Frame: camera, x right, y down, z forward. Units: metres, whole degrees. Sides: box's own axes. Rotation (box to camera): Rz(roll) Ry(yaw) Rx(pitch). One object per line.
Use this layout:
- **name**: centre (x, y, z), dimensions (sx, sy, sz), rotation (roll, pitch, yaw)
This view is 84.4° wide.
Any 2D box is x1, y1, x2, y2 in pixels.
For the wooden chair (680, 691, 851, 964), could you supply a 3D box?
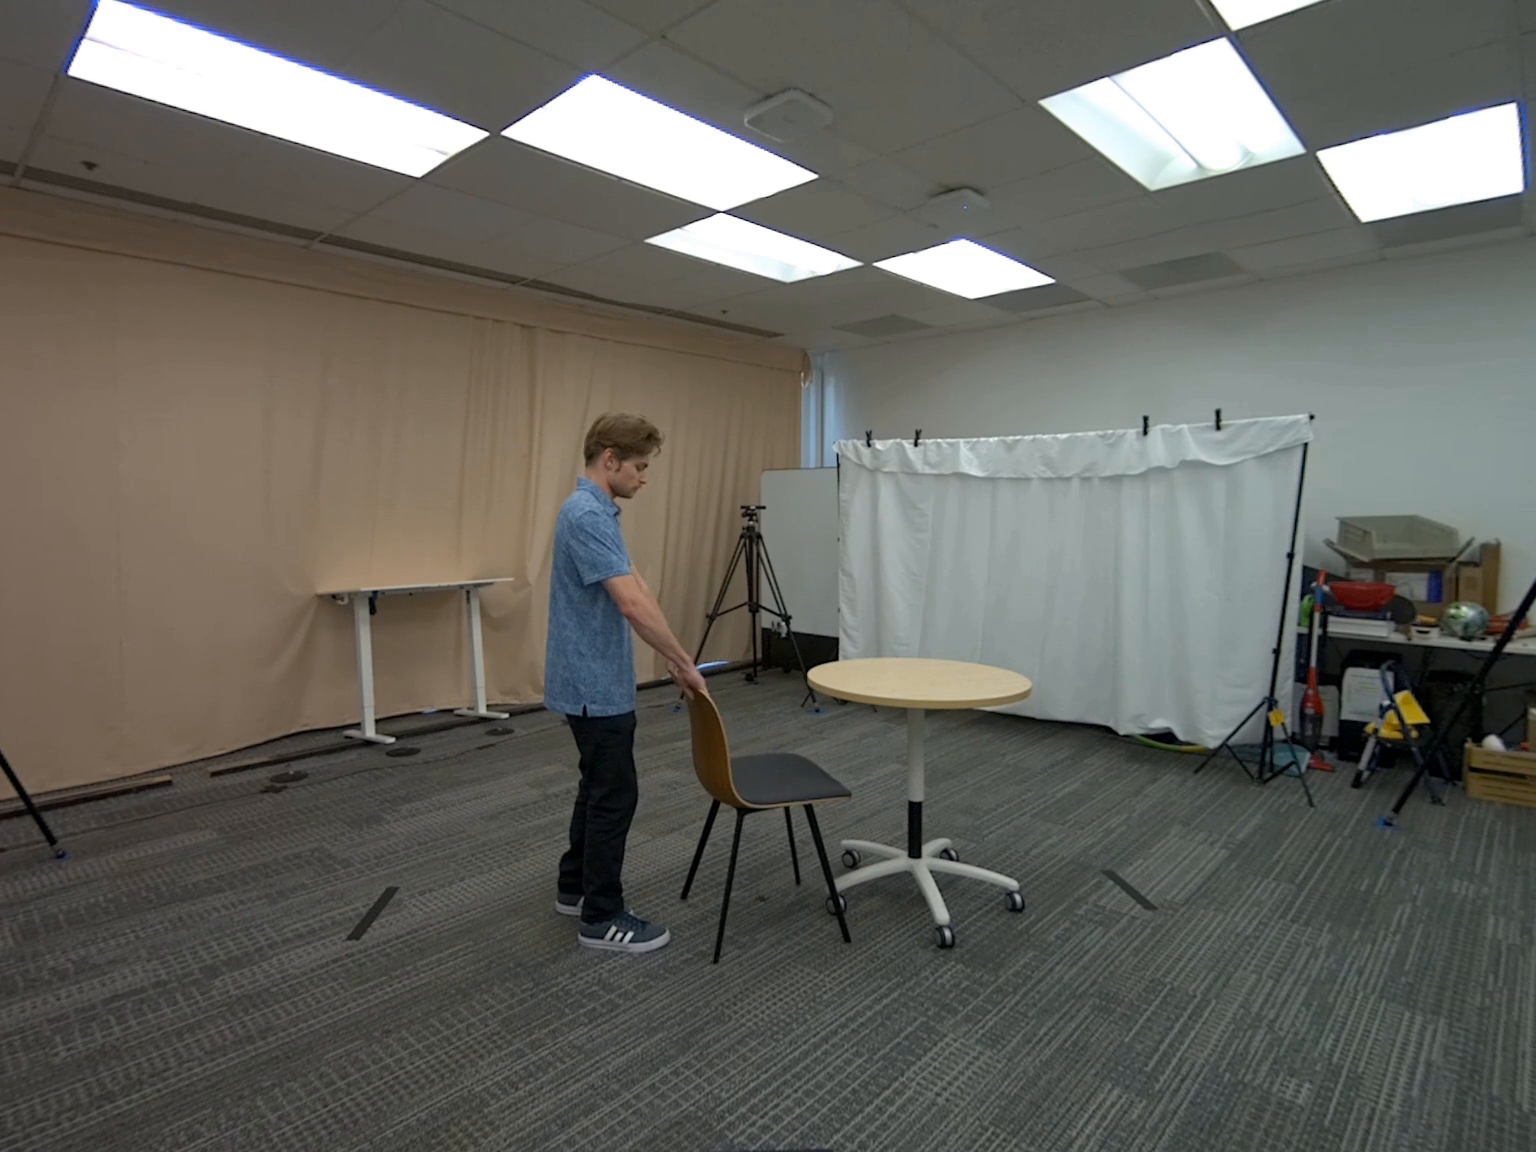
- **wooden chair**: centre (-0.013, 0.731, 2.805), dimensions (0.515, 0.875, 0.487), rotation (-6, 4, -17)
